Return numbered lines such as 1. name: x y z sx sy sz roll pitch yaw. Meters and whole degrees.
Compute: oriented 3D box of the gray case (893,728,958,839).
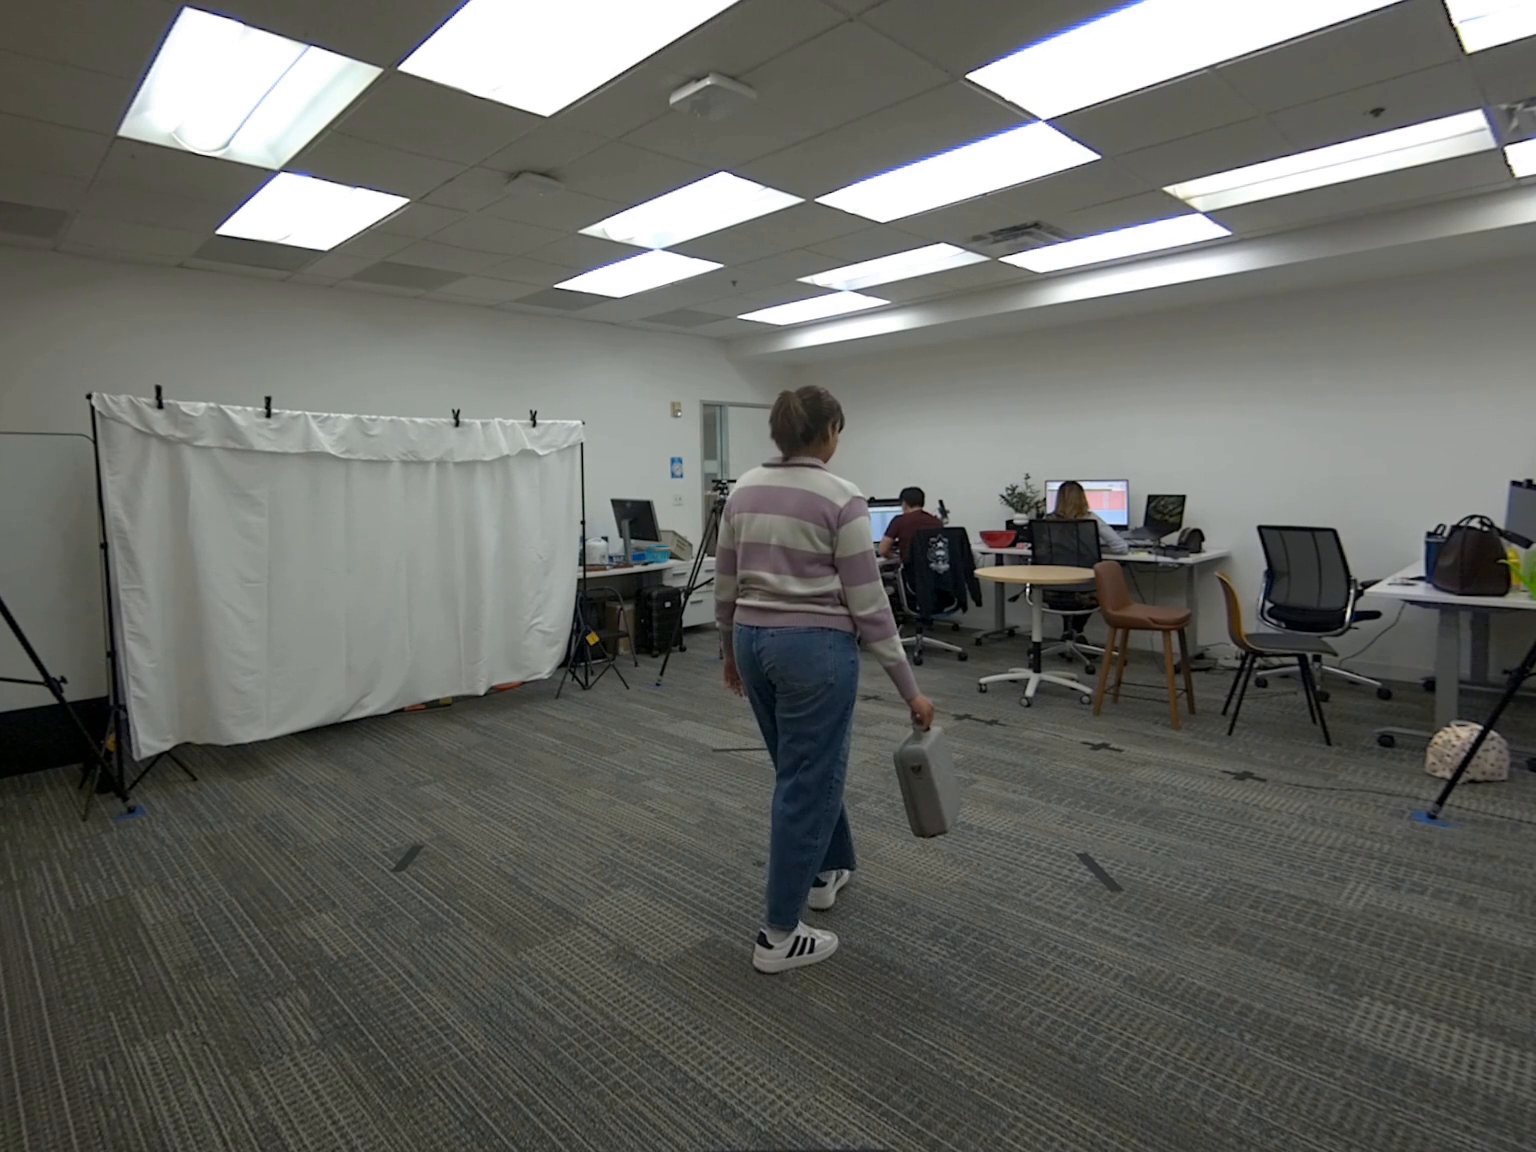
1. gray case: 0.452 0.570 2.433 0.106 0.260 0.253 -12 1 24
